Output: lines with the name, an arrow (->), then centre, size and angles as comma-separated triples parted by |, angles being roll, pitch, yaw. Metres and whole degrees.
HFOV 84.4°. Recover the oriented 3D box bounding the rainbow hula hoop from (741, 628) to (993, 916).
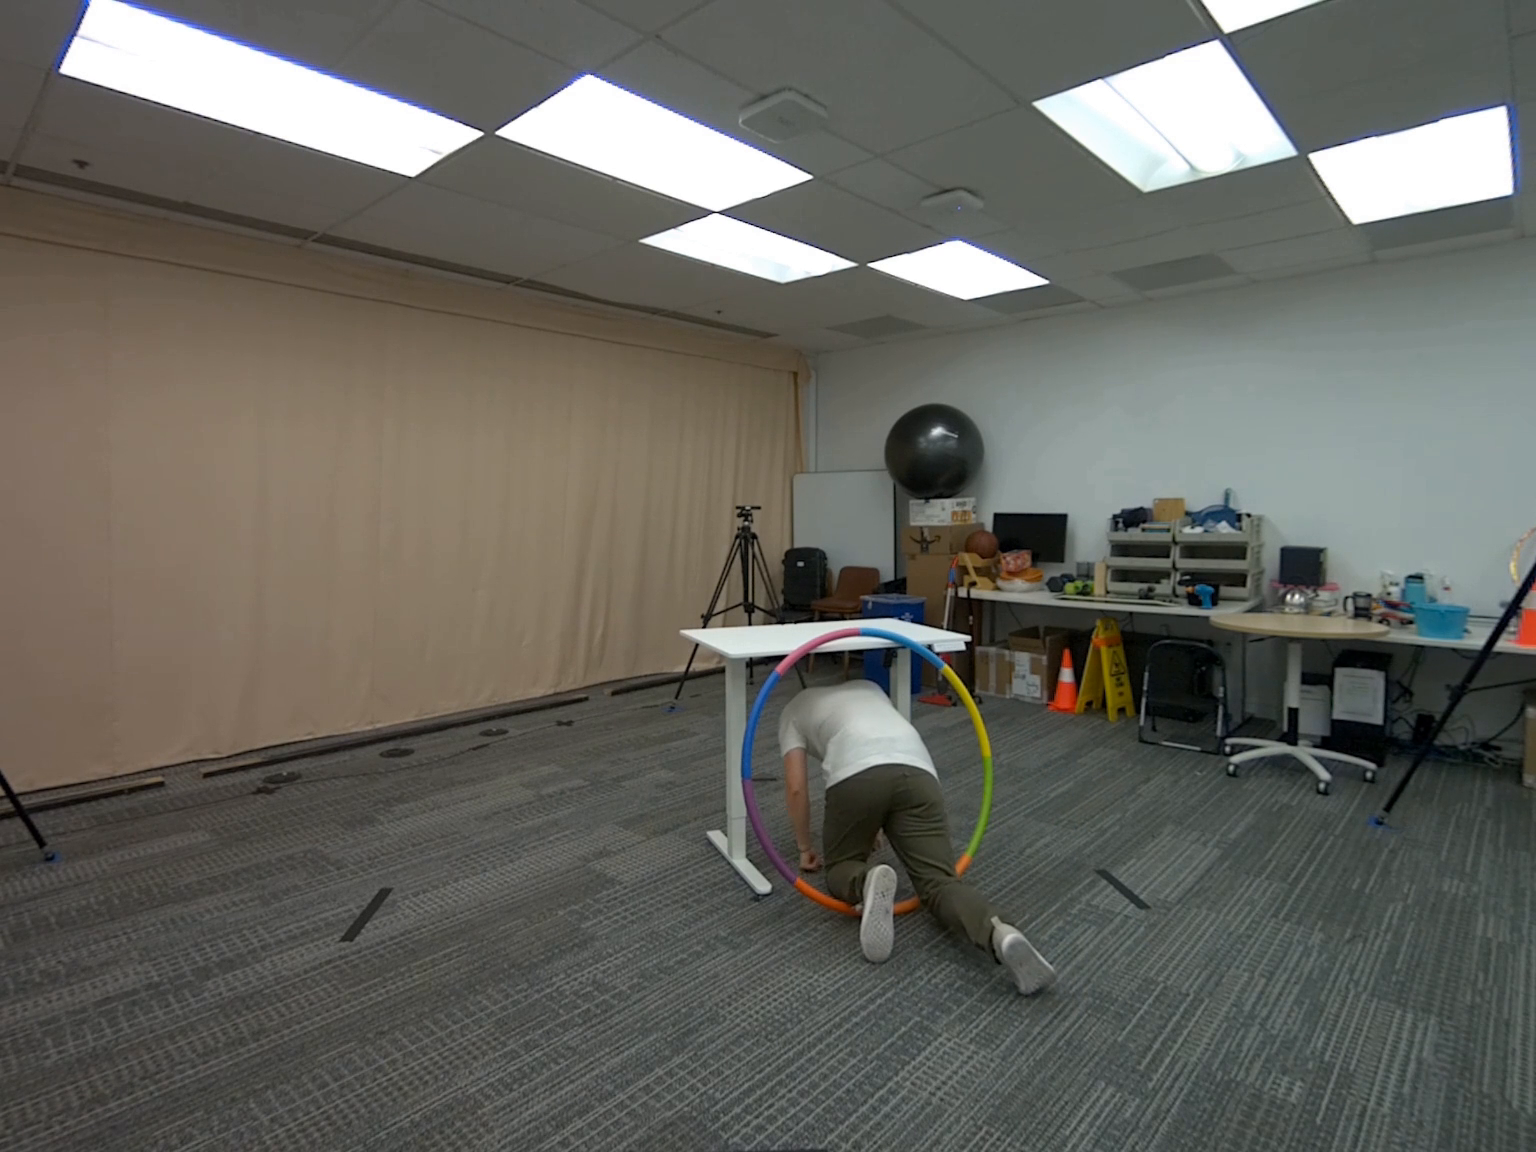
rainbow hula hoop -> 0.385, 0.673, 2.966 | 0.958, 0.988, 0.036 | -2, -14, -21
